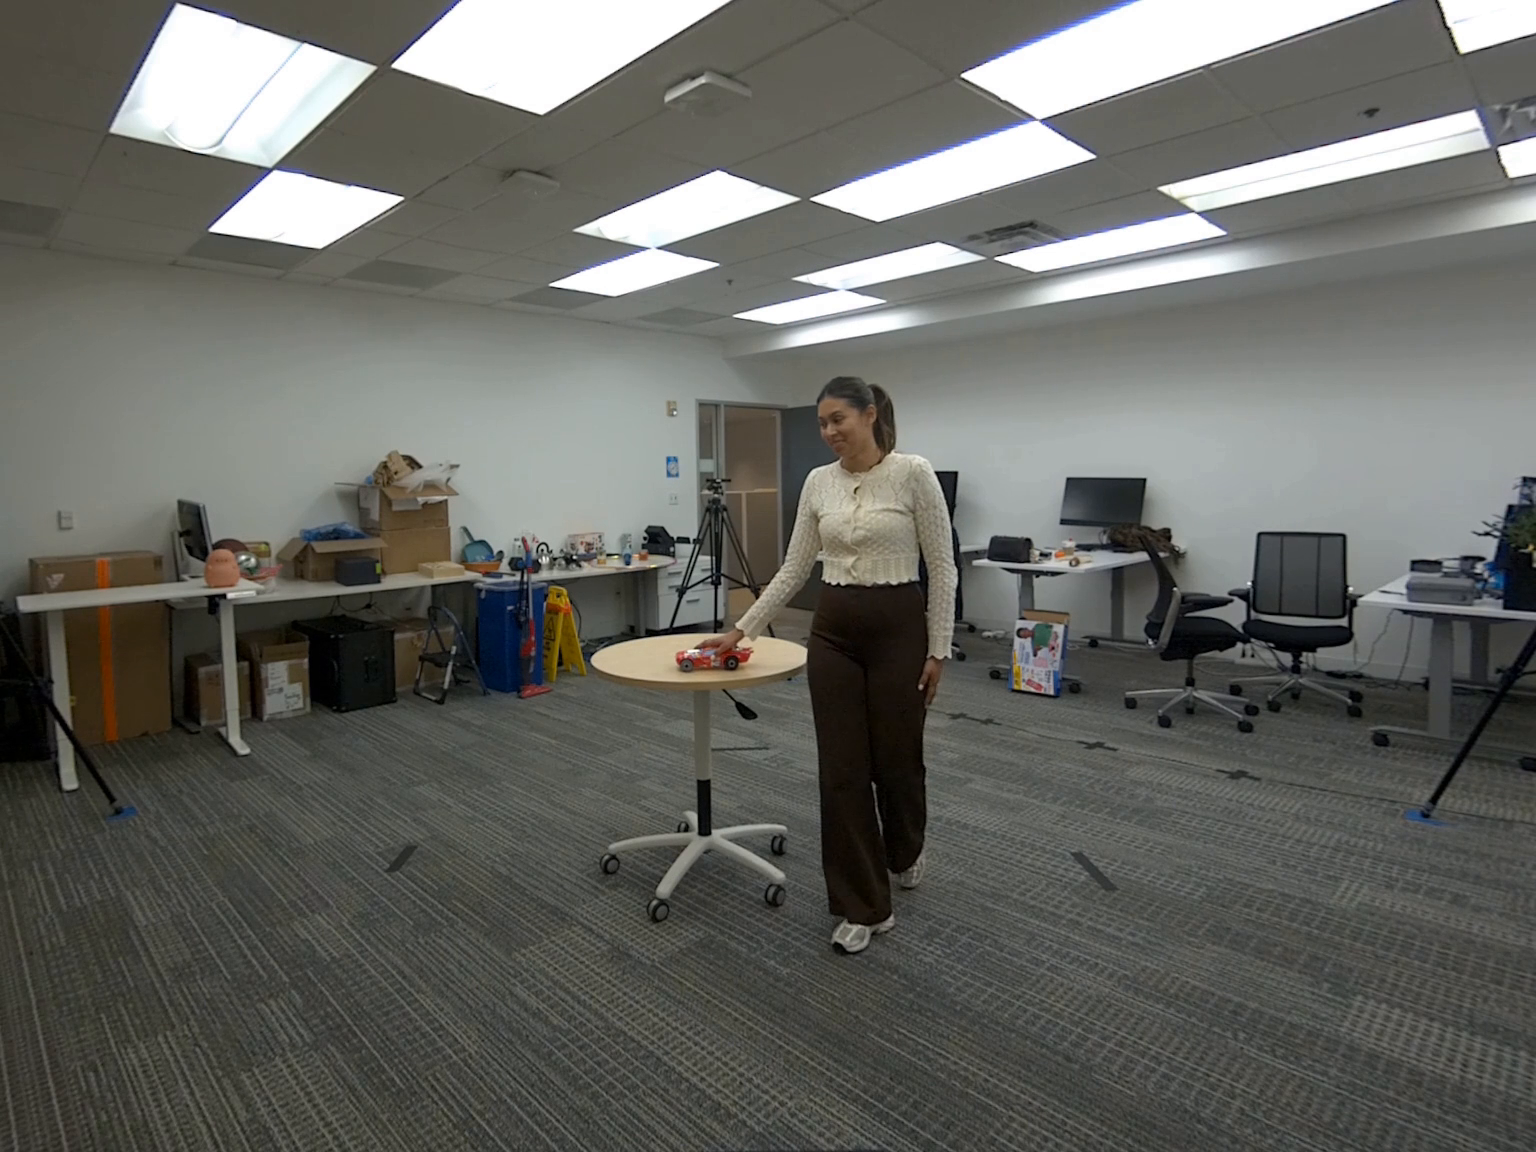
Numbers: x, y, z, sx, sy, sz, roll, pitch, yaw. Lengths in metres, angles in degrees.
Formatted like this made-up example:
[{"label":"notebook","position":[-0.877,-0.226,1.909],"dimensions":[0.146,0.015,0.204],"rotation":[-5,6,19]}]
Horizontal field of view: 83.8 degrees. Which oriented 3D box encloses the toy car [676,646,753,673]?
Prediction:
[{"label":"toy car","position":[-0.163,0.266,2.789],"dimensions":[0.254,0.082,0.131],"rotation":[-13,8,-1]}]
